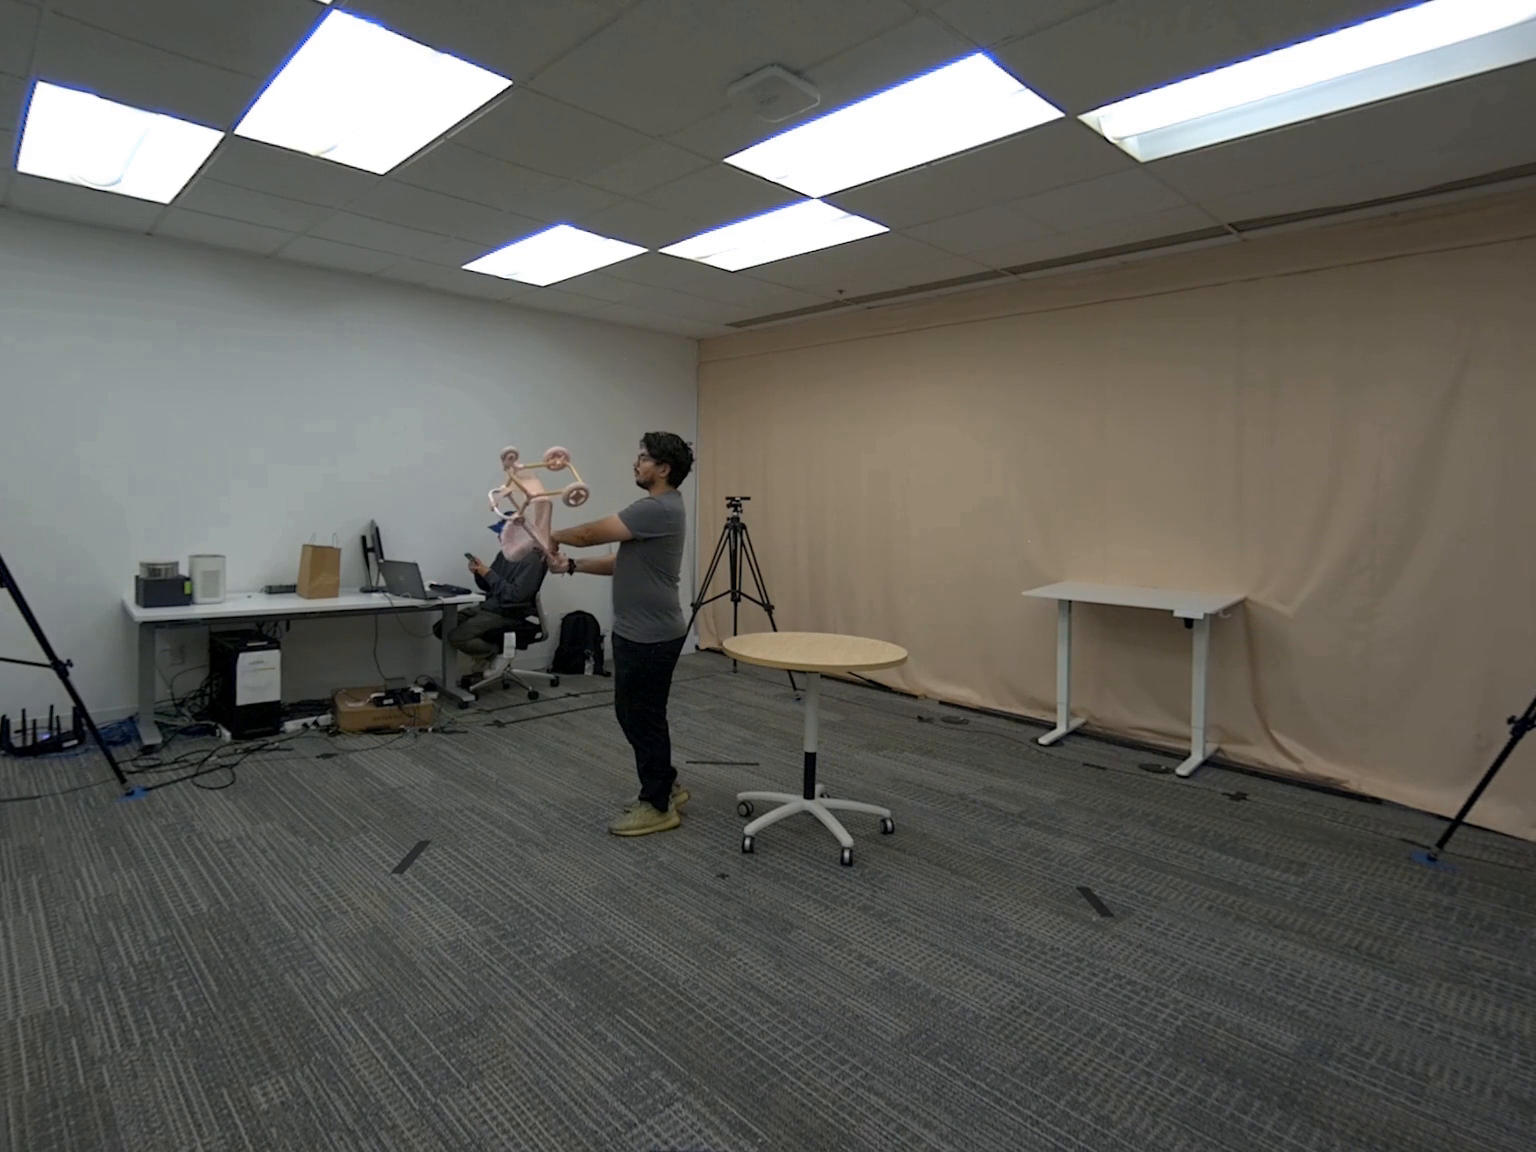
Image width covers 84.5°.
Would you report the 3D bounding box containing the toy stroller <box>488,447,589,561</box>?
[{"bbox_3d":[-0.931,-0.265,3.279,0.334,0.530,0.290,-4,43,-39],"label":"toy stroller"}]
